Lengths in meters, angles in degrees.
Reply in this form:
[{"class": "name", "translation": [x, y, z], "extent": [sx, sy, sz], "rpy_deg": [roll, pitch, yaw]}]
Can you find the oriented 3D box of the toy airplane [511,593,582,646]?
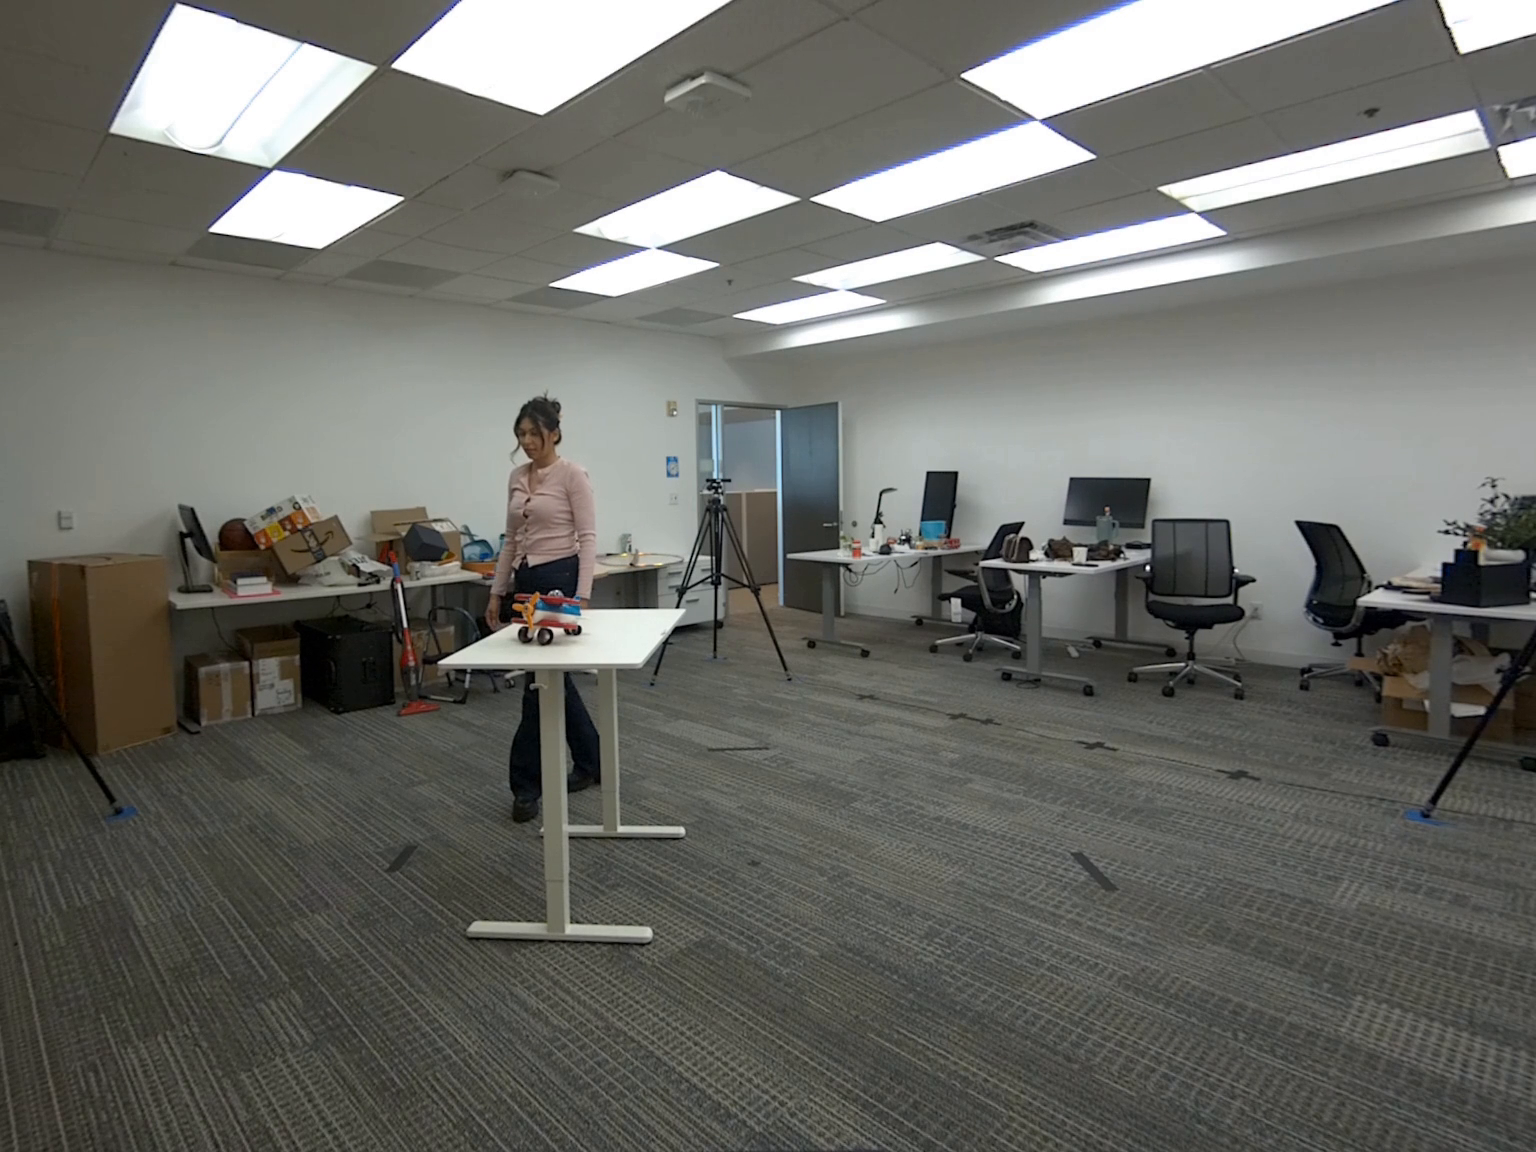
[{"class": "toy airplane", "translation": [-0.723, 0.133, 2.817], "extent": [0.252, 0.155, 0.260], "rpy_deg": [-1, 6, 1]}]
